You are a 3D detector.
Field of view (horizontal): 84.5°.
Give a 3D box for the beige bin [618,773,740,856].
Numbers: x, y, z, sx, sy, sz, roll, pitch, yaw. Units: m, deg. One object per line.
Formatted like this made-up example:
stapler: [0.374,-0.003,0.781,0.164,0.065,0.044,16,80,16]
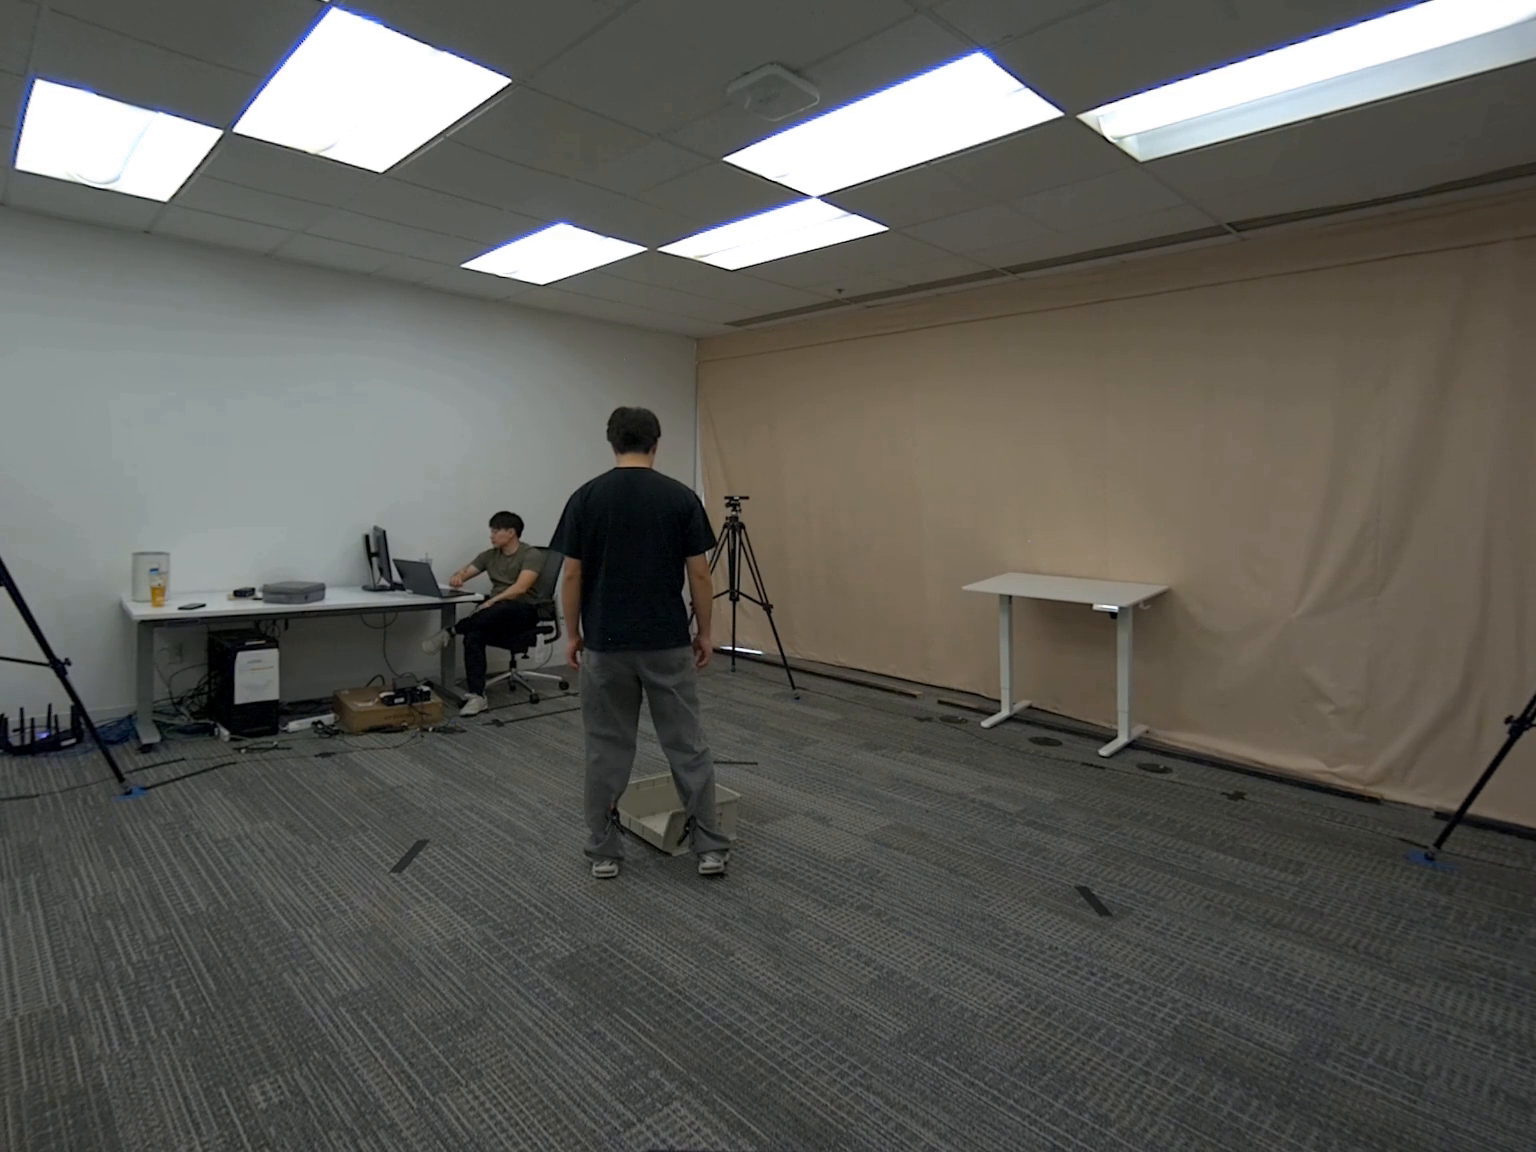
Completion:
beige bin: [-0.393,0.975,3.489,0.369,0.188,0.433,-1,5,-38]
